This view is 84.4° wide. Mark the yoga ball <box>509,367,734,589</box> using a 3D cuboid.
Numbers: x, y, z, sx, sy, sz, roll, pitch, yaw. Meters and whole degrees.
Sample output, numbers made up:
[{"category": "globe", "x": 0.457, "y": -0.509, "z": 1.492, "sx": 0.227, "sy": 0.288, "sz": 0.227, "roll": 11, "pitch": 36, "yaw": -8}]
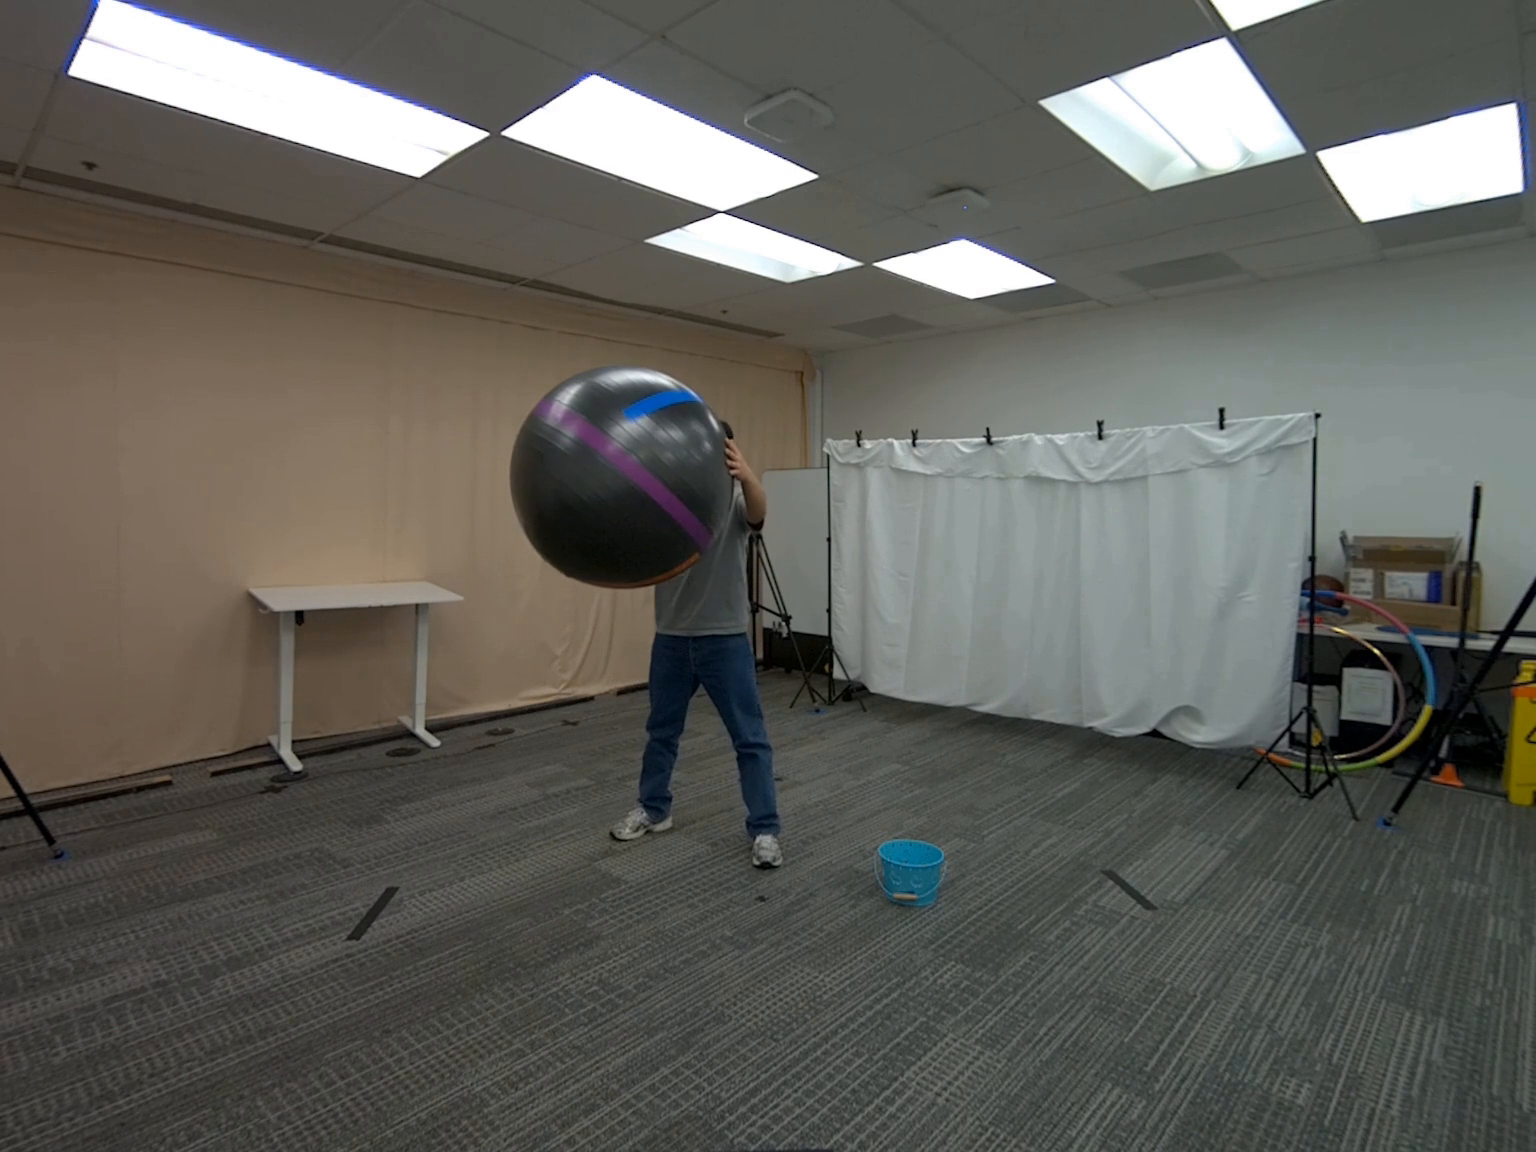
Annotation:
[{"category": "yoga ball", "x": -0.501, "y": -0.311, "z": 2.881, "sx": 0.757, "sy": 0.756, "sz": 0.760, "roll": 0, "pitch": 4, "yaw": -2}]
